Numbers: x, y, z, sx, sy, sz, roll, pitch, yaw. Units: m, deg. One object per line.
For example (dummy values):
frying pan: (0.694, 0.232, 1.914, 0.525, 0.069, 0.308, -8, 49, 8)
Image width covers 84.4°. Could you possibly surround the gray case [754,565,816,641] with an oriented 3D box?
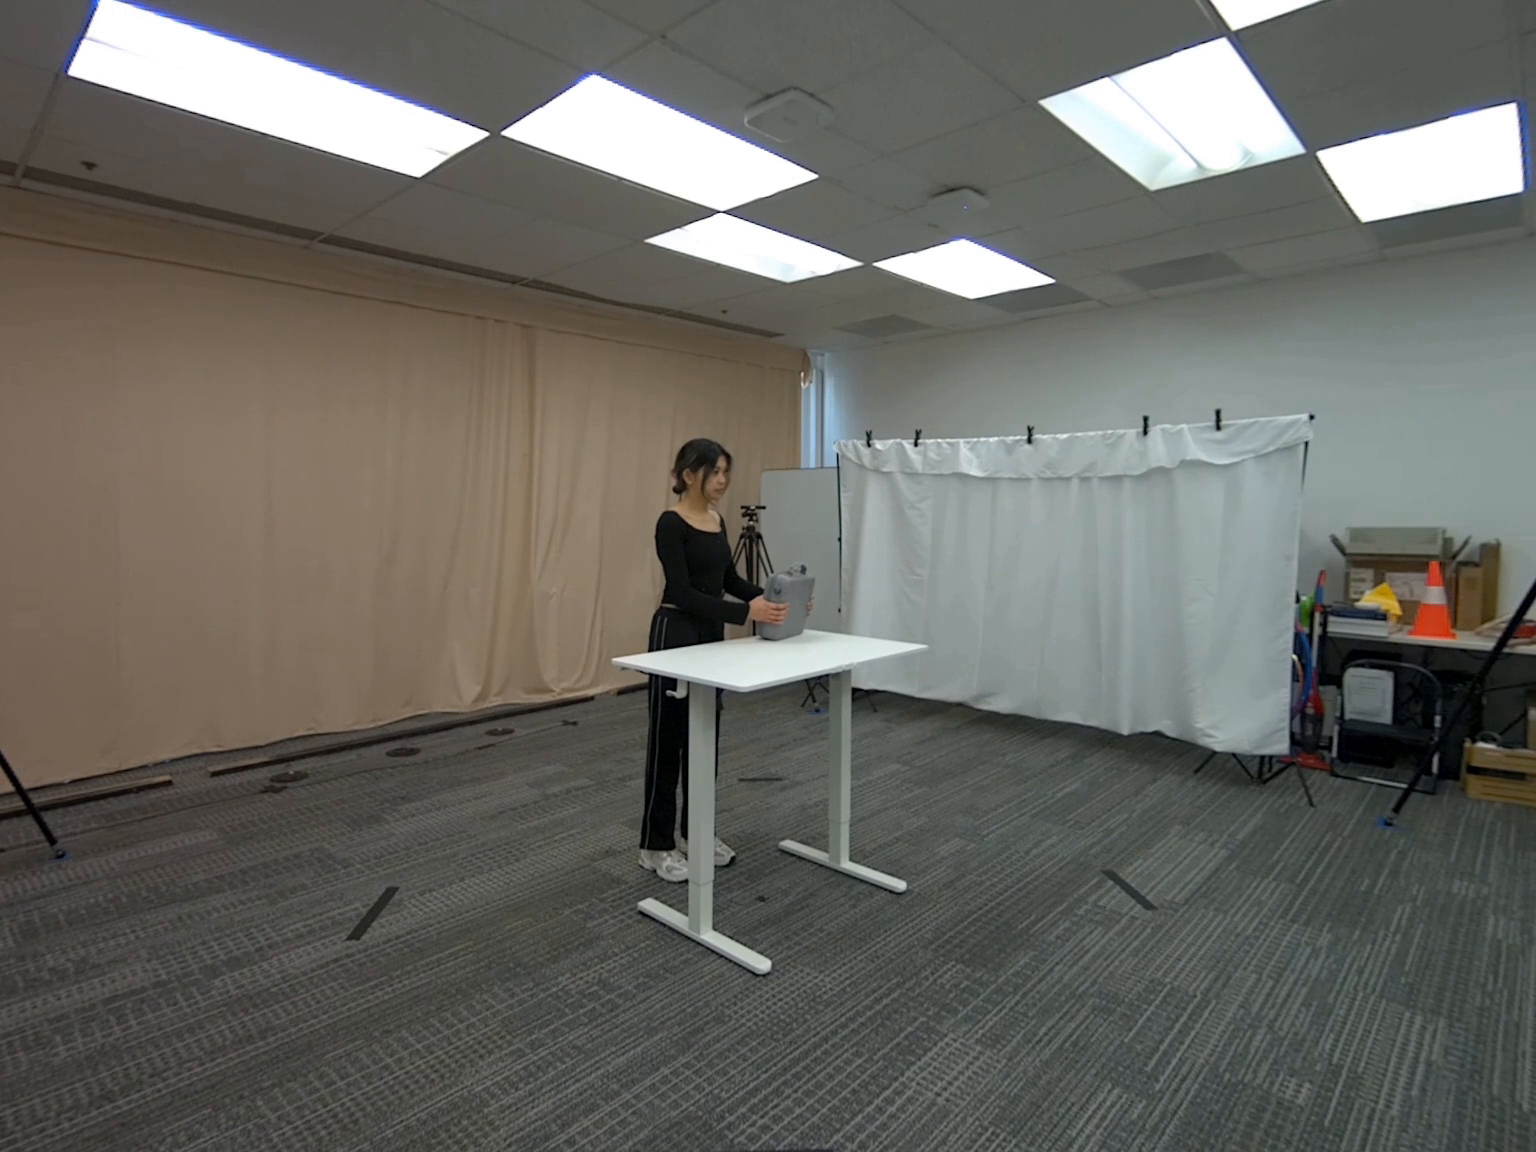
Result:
gray case: (0.073, 0.109, 3.259, 0.107, 0.259, 0.250, 17, 11, 28)
